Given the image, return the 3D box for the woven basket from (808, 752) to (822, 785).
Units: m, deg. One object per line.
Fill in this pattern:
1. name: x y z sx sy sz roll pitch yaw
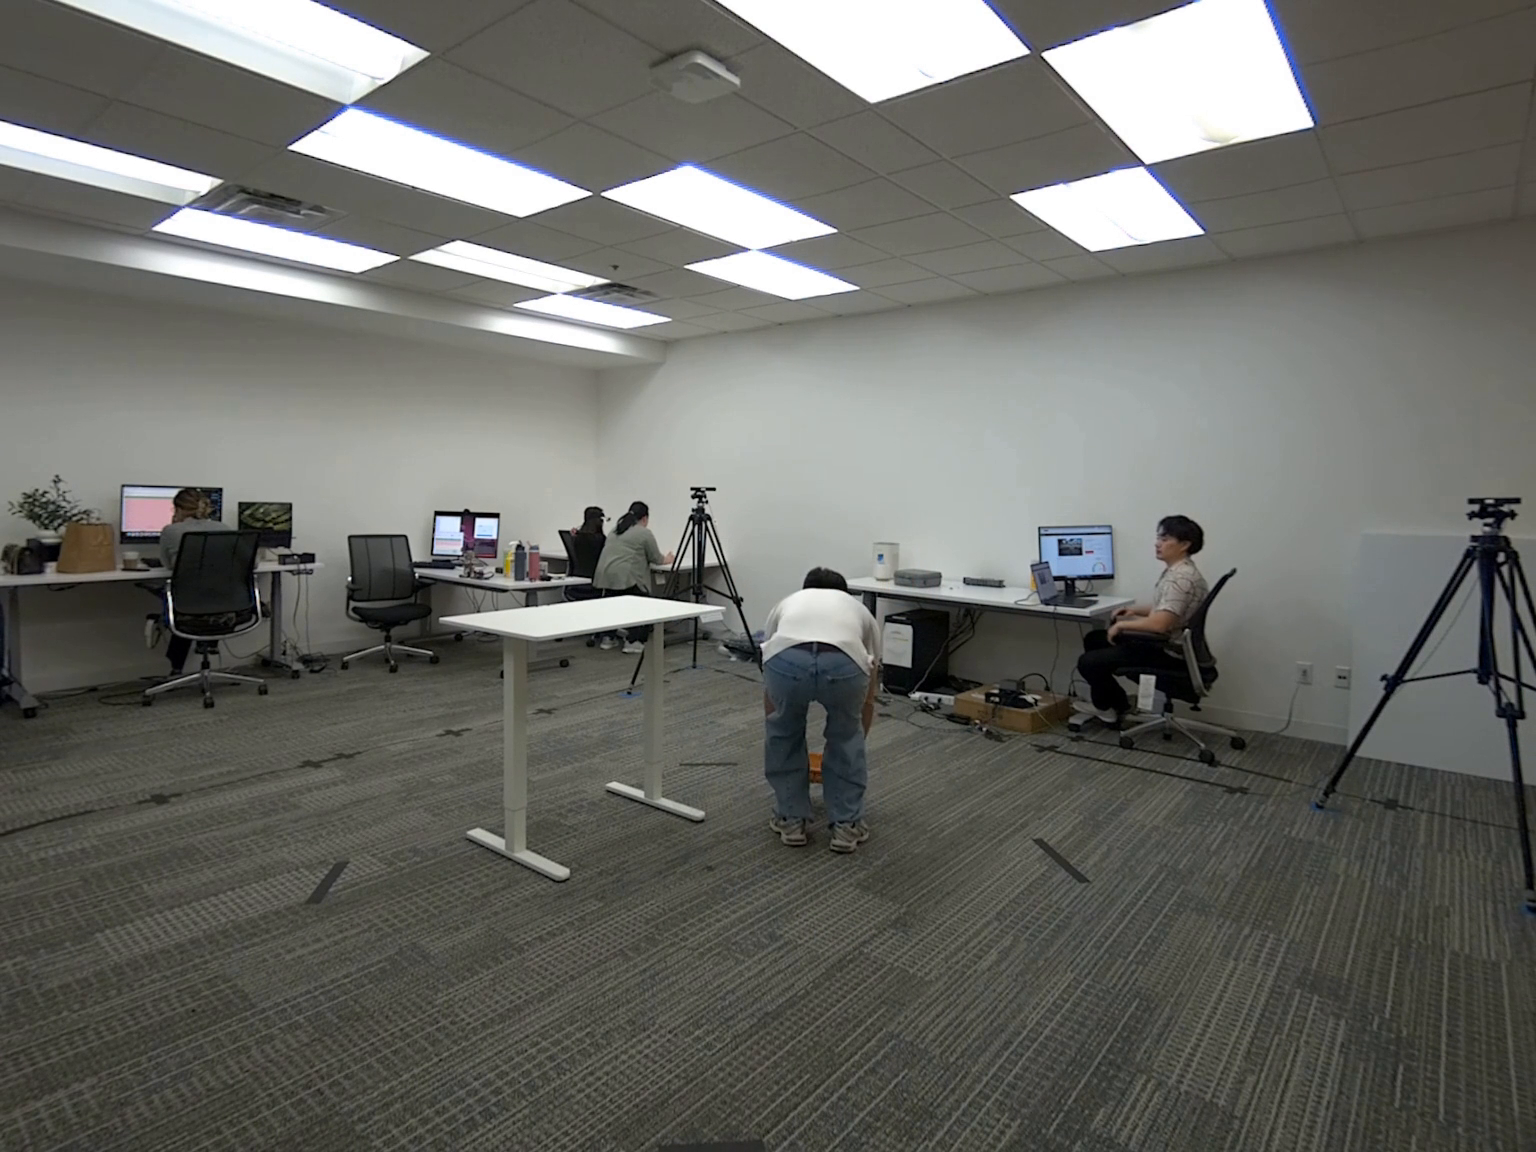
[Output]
1. woven basket: 0.182 0.826 3.731 0.356 0.073 0.249 4 4 13
